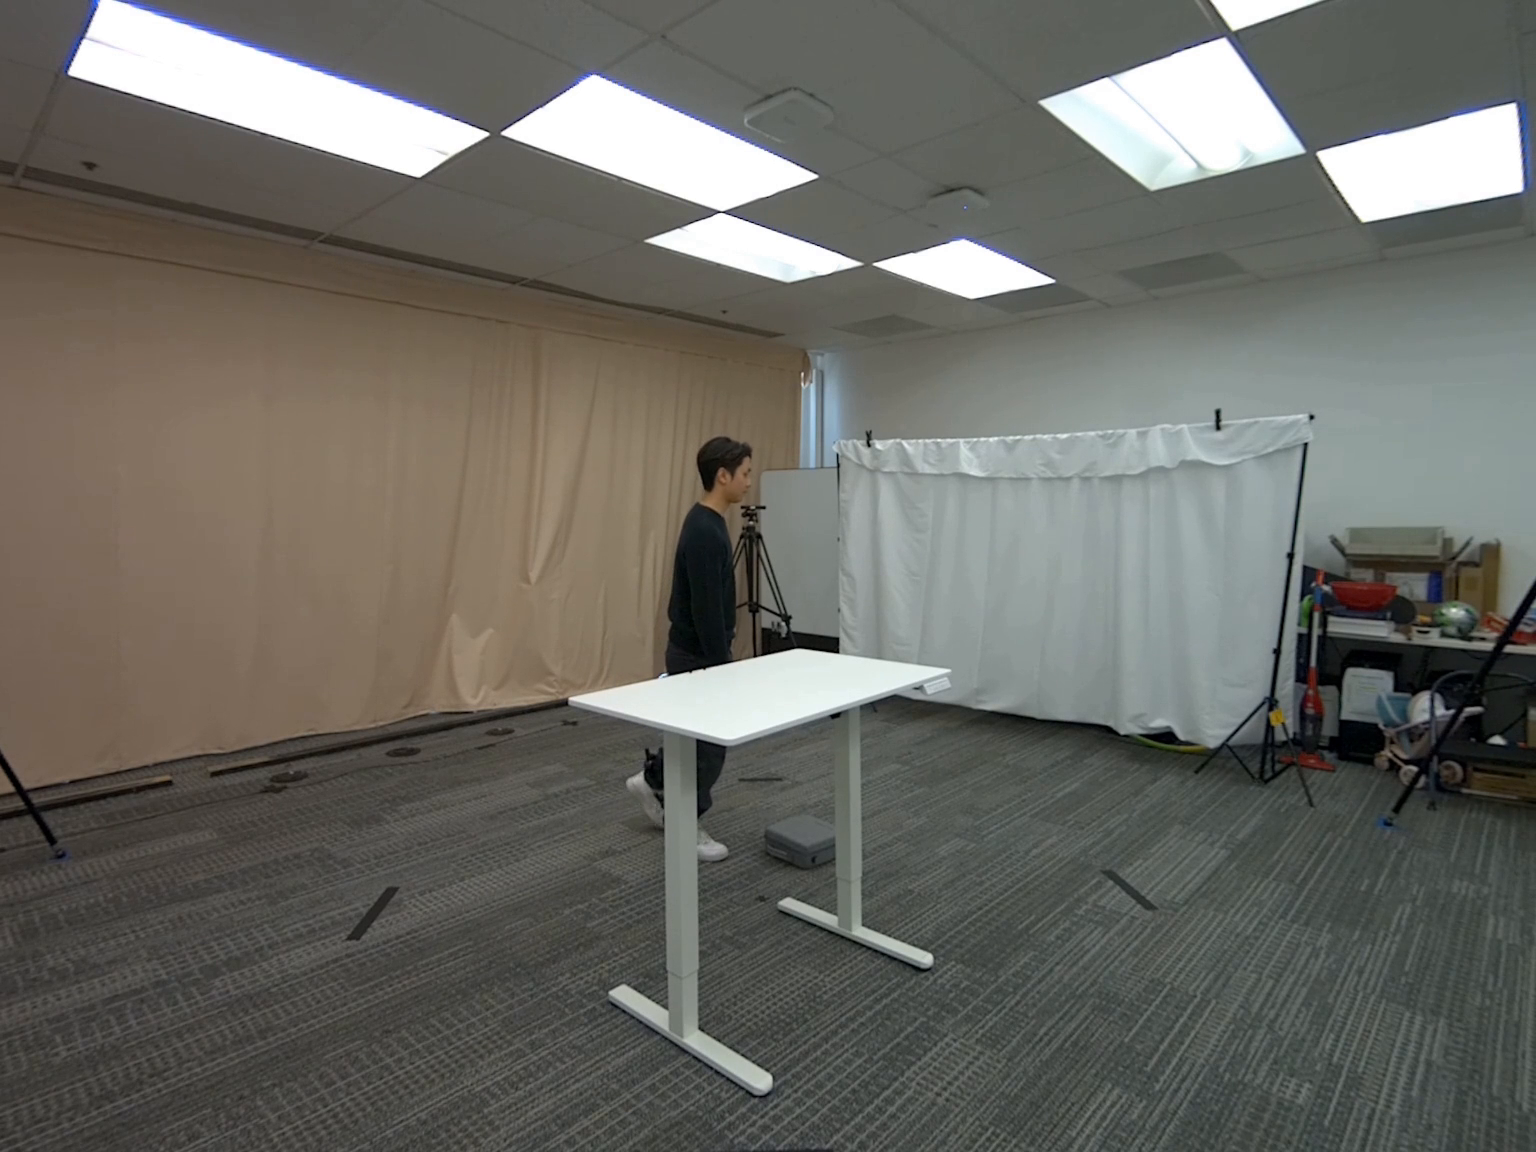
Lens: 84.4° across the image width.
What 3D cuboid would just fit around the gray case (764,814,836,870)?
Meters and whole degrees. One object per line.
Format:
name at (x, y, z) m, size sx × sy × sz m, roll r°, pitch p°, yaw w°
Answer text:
gray case at (0.148, 1.052, 3.361) m, size 0.253 × 0.104 × 0.266 m, roll -5°, pitch 9°, yaw -41°
